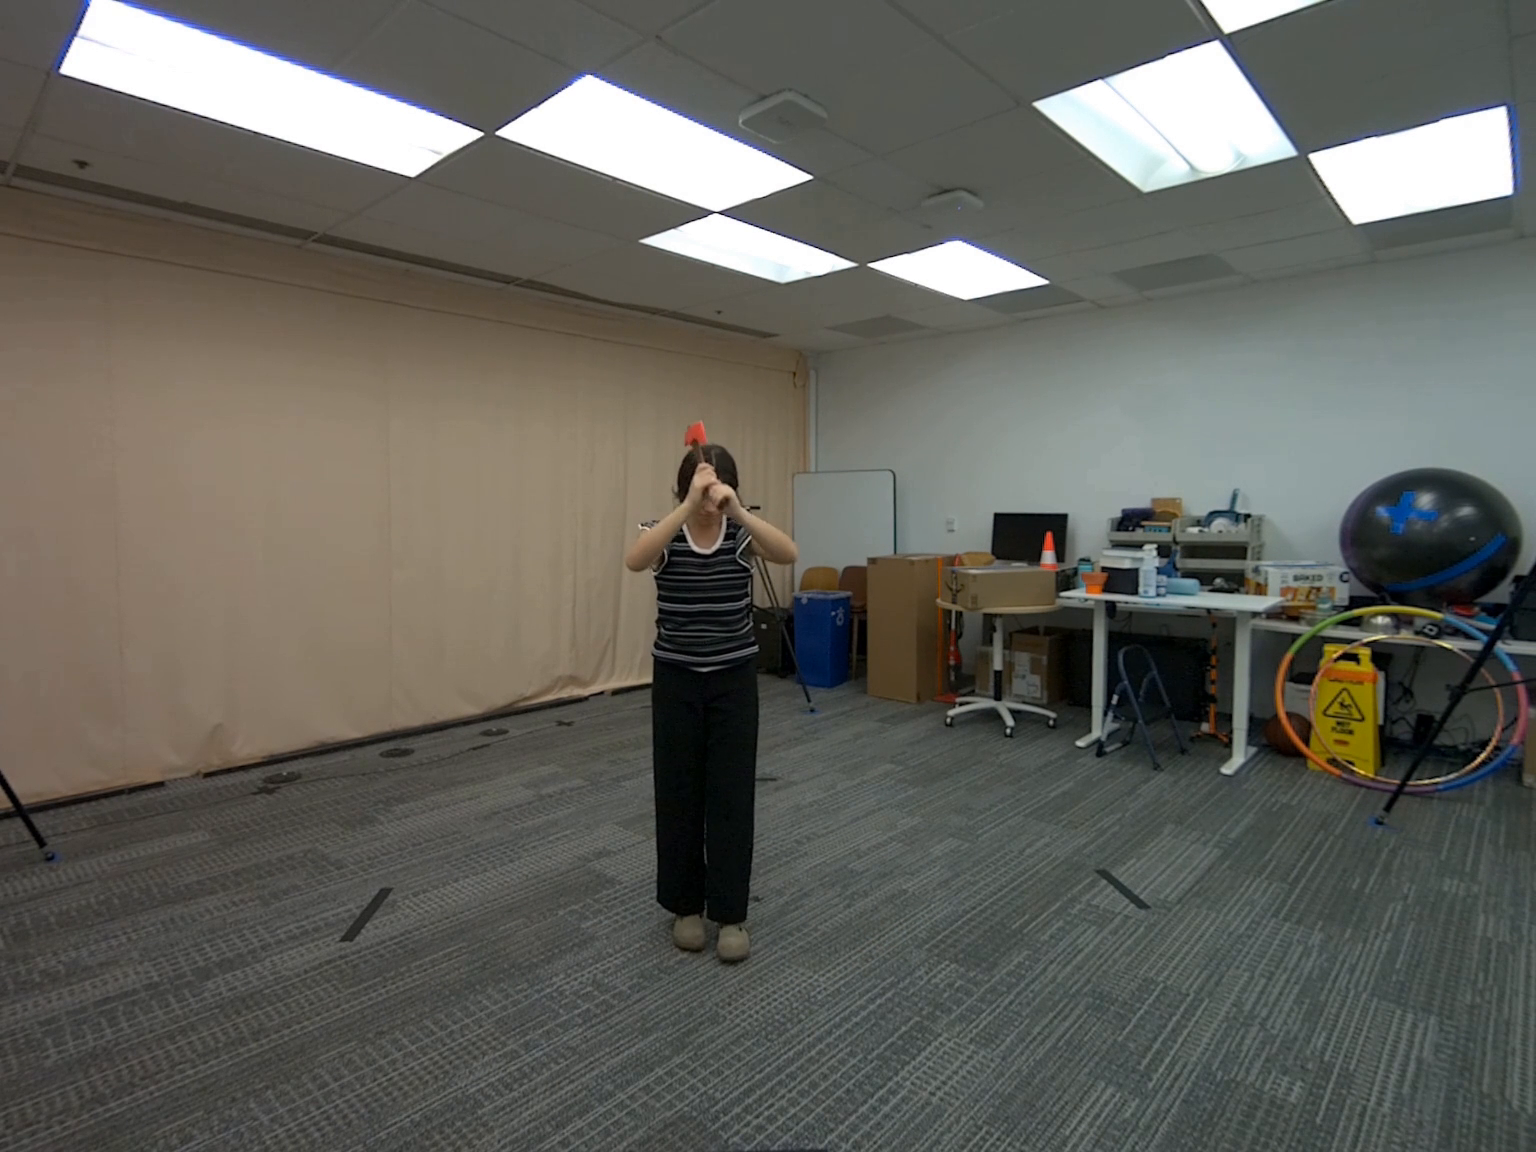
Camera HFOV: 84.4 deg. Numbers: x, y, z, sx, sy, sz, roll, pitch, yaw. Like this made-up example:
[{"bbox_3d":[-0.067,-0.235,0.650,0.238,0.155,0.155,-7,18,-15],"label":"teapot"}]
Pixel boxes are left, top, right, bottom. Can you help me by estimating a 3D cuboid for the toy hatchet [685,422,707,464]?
[{"bbox_3d":[-0.164,-0.316,2.360,0.029,0.277,0.130,-11,-34,-29],"label":"toy hatchet"}]
